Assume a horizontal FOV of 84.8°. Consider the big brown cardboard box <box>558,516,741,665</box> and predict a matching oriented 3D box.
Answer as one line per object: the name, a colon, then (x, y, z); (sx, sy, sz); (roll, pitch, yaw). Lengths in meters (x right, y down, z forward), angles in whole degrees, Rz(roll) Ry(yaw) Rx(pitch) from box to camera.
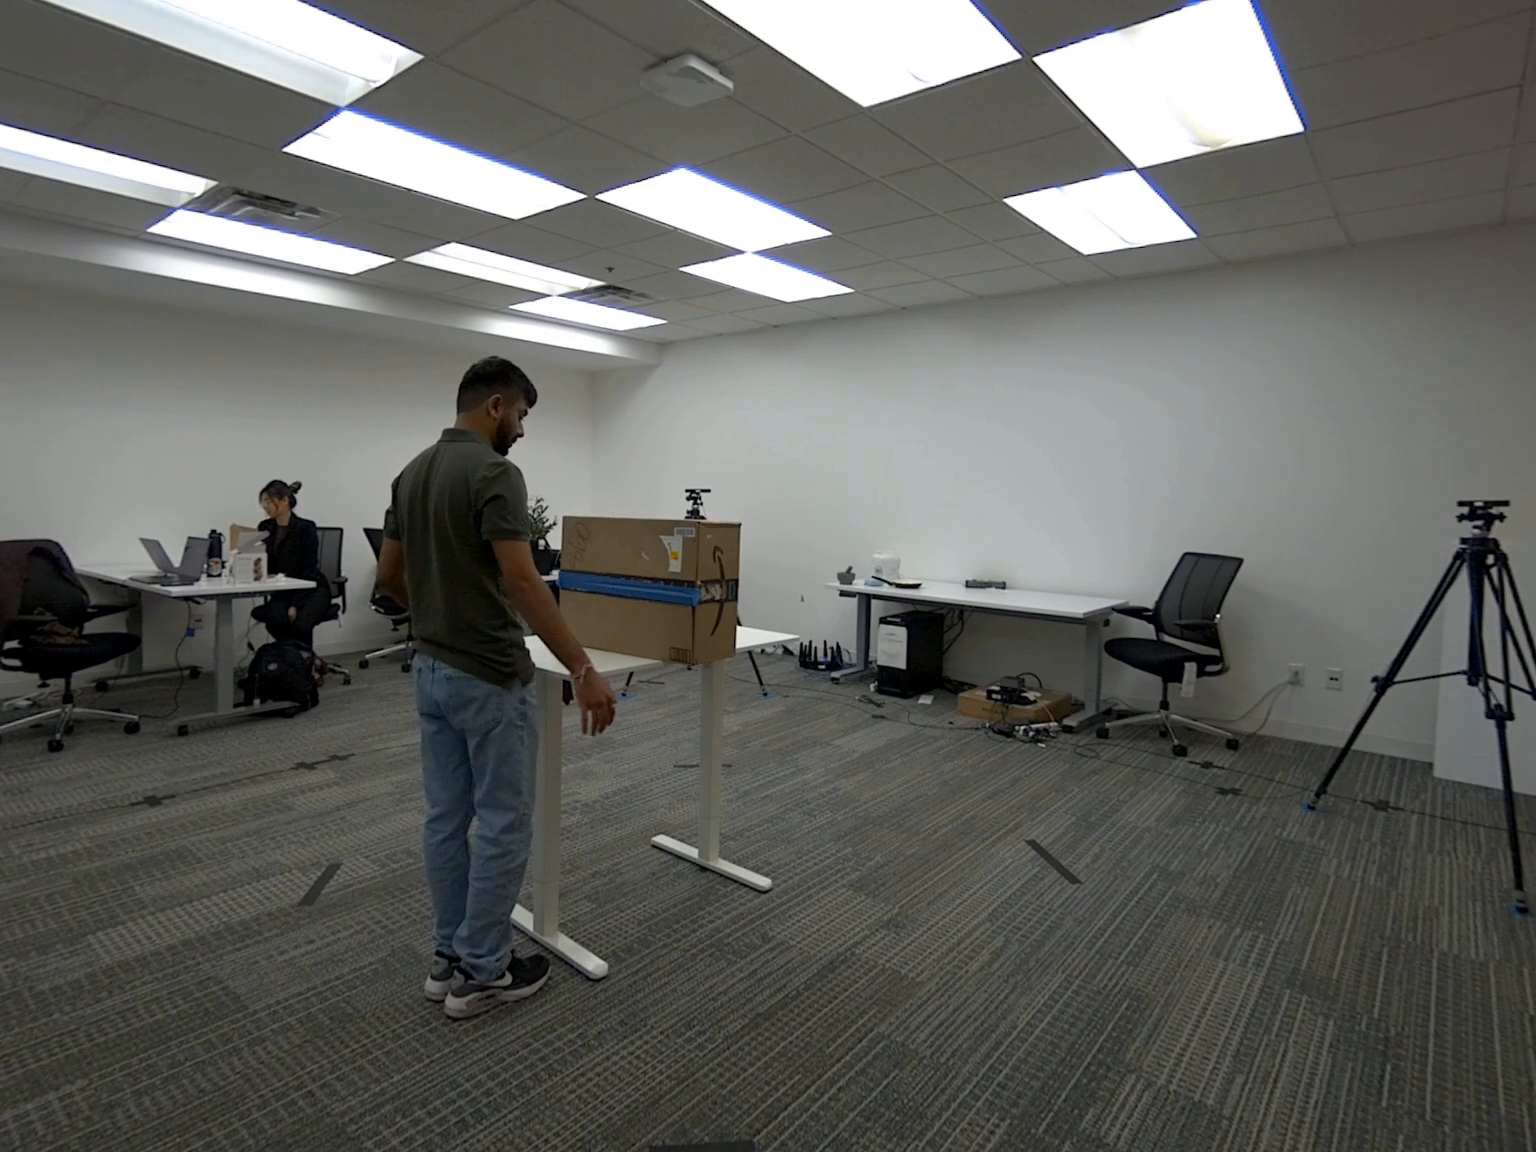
big brown cardboard box: (-0.389, 0.026, 2.672); (0.608, 0.417, 0.226); (4, 3, 36)
